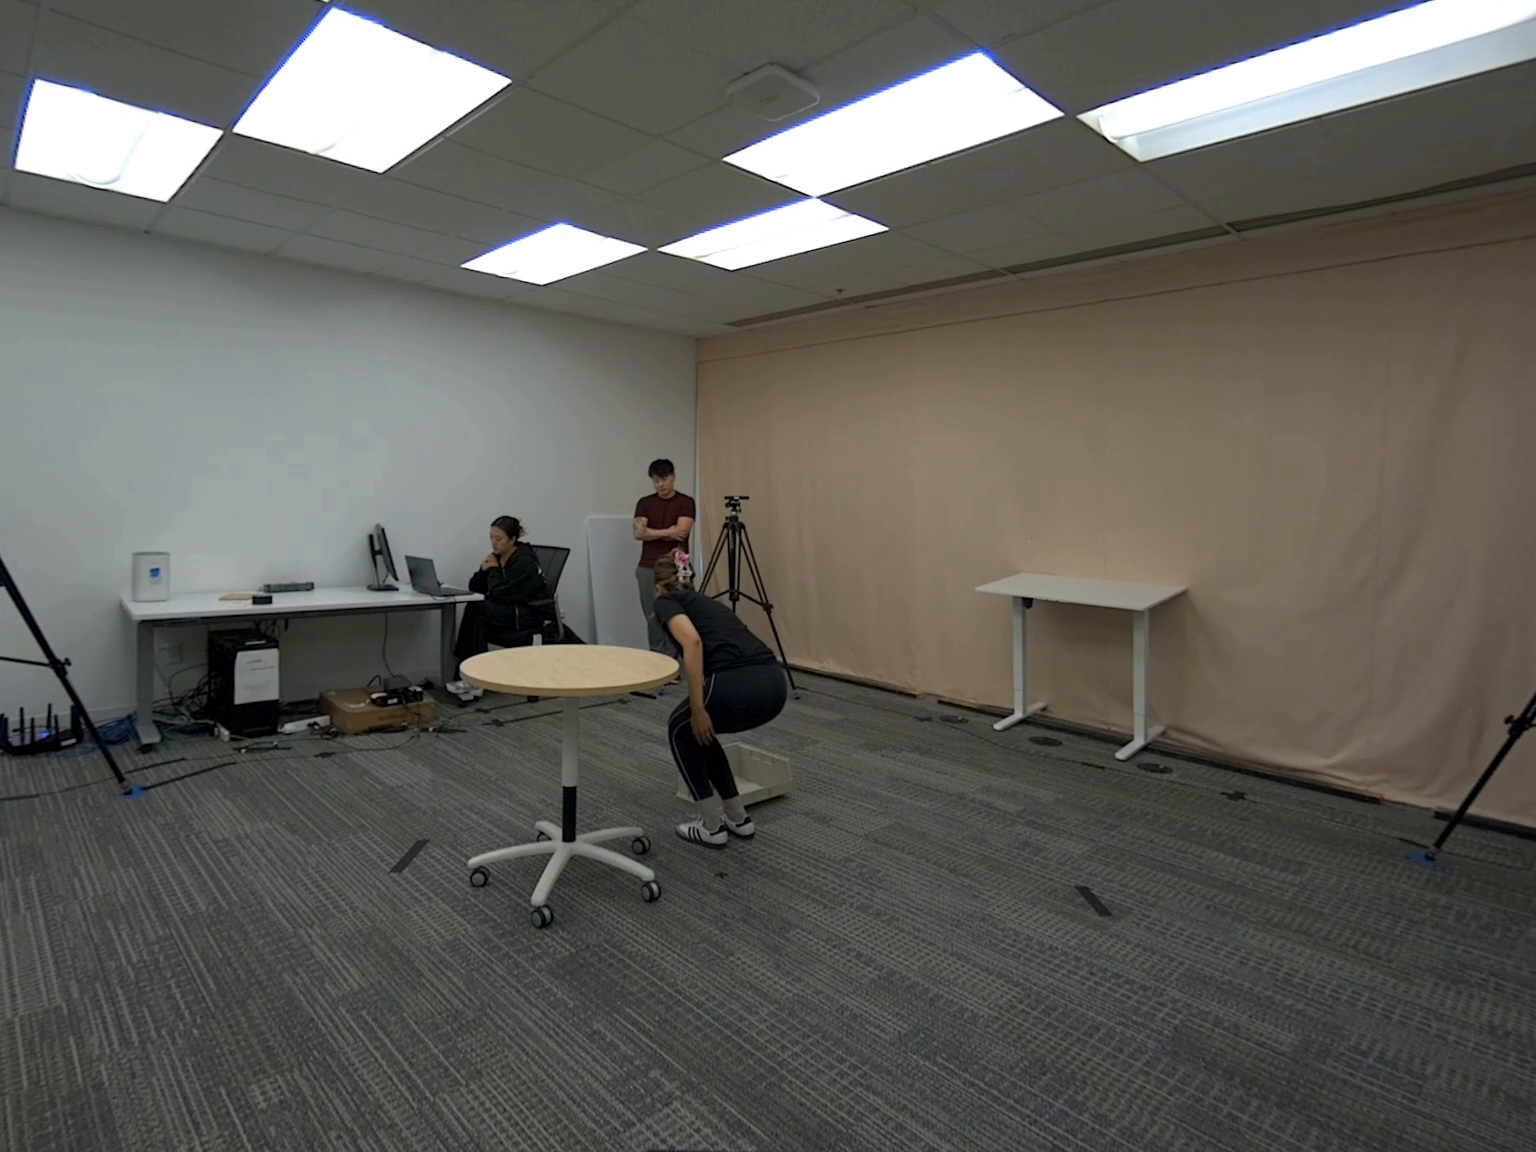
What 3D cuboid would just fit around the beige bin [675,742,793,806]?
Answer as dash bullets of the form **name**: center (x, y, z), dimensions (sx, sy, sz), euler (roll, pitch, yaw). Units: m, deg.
- **beige bin**: center (-0.168, 0.944, 3.934), dimensions (0.413, 0.188, 0.387), euler (-4, 7, -45)
